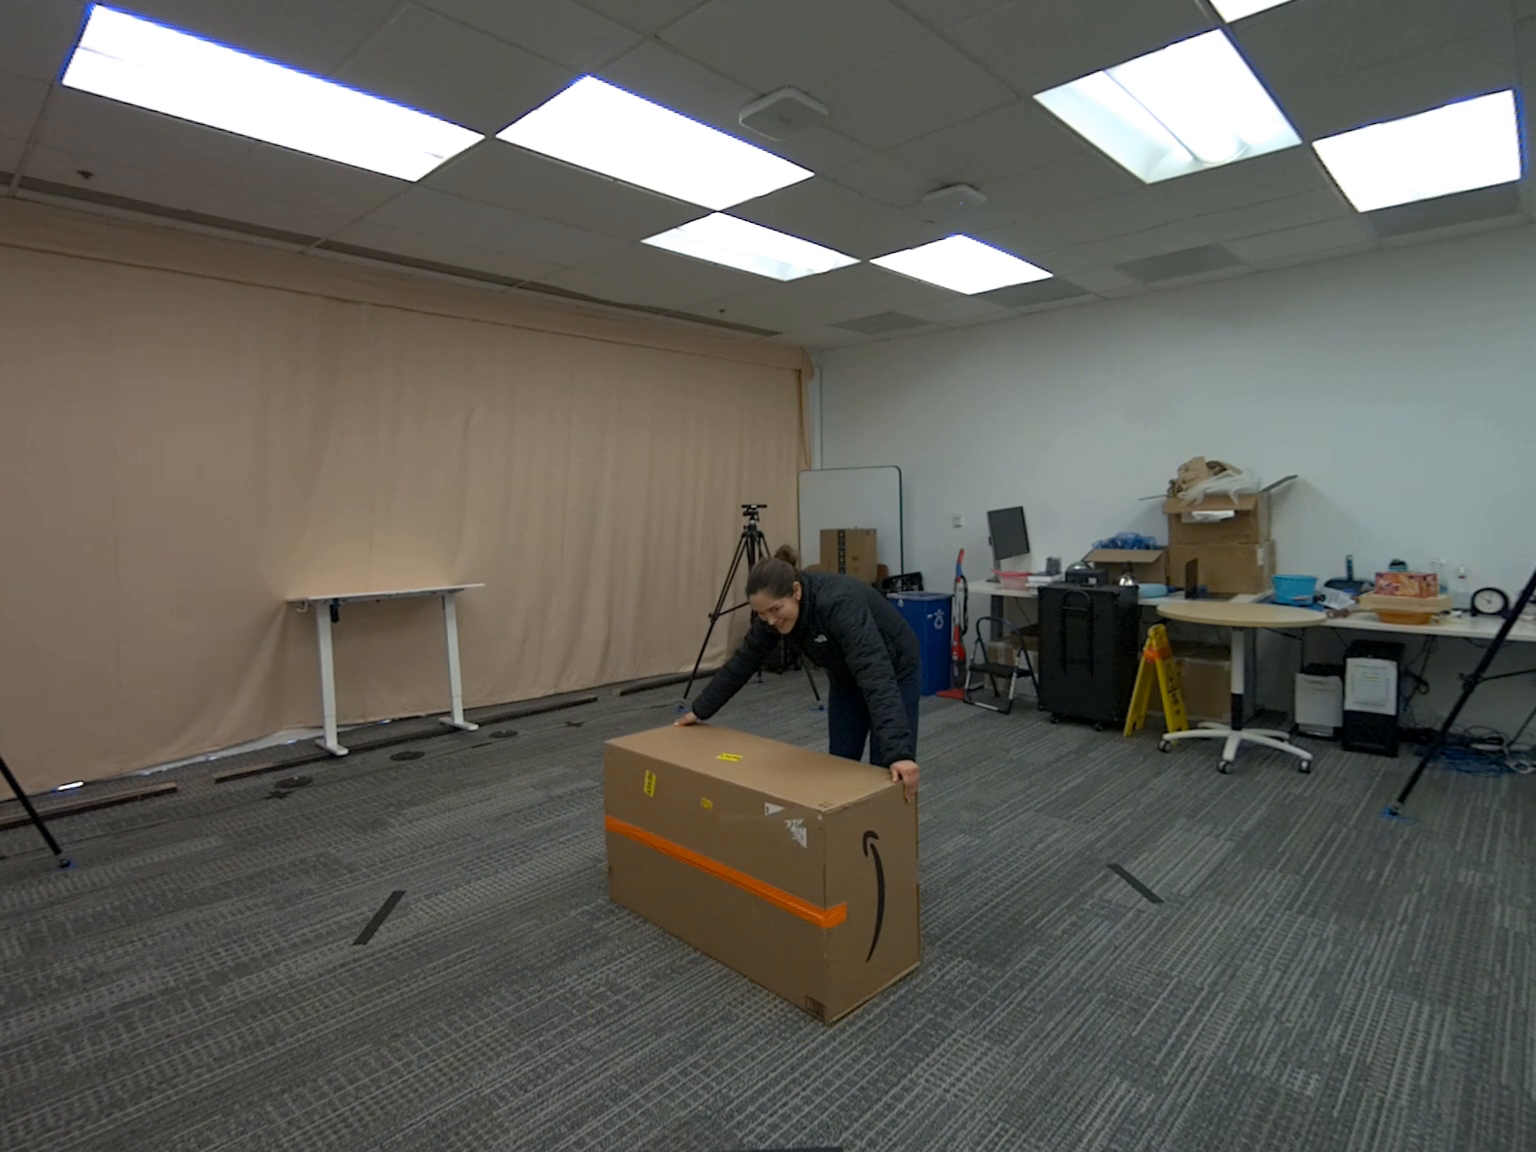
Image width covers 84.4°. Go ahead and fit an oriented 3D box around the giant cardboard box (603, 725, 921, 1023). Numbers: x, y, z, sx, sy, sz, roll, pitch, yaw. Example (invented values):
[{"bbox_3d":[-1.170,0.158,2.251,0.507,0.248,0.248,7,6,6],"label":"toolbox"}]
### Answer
[{"bbox_3d":[-0.050,0.875,2.745,0.433,0.582,1.061,-6,6,-44],"label":"giant cardboard box"}]
